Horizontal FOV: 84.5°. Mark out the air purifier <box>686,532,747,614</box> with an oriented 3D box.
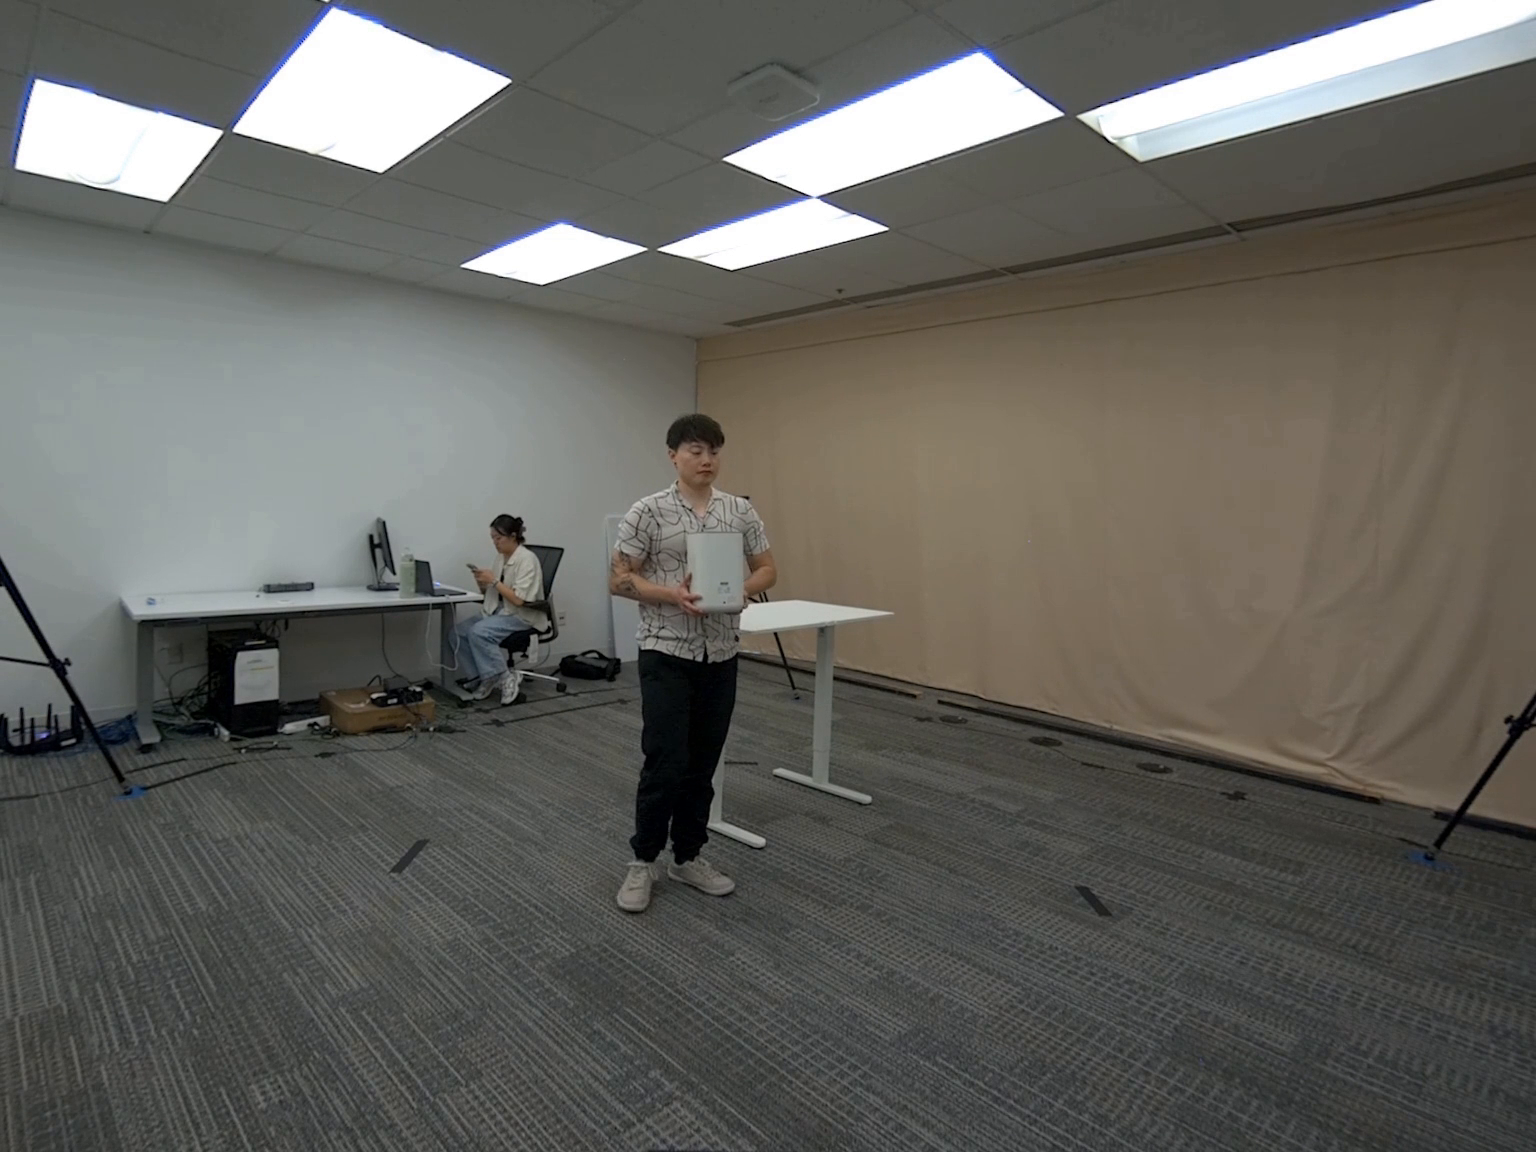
[{"bbox_3d":[-0.199,-0.015,2.795,0.168,0.266,0.174,-1,-3,-22],"label":"air purifier"}]
